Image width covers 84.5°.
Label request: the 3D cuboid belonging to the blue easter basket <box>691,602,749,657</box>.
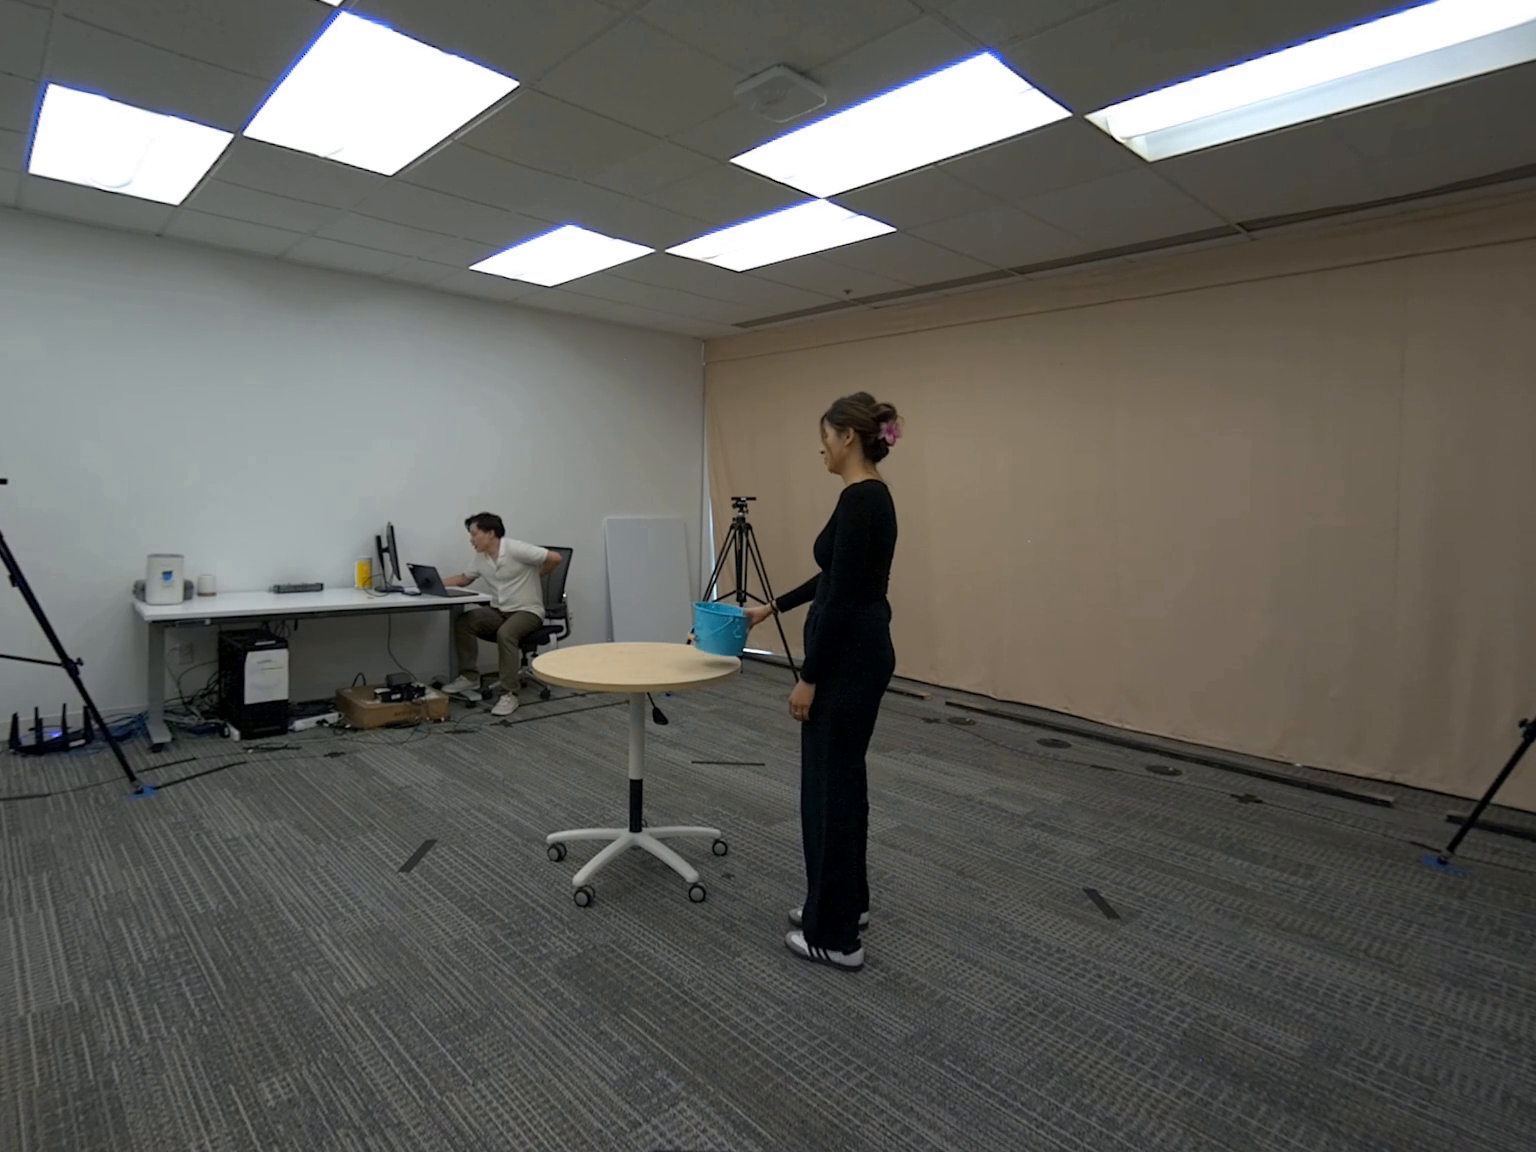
[{"bbox_3d":[-0.165,0.206,3.060,0.243,0.155,0.245,9,6,-2],"label":"blue easter basket"}]
